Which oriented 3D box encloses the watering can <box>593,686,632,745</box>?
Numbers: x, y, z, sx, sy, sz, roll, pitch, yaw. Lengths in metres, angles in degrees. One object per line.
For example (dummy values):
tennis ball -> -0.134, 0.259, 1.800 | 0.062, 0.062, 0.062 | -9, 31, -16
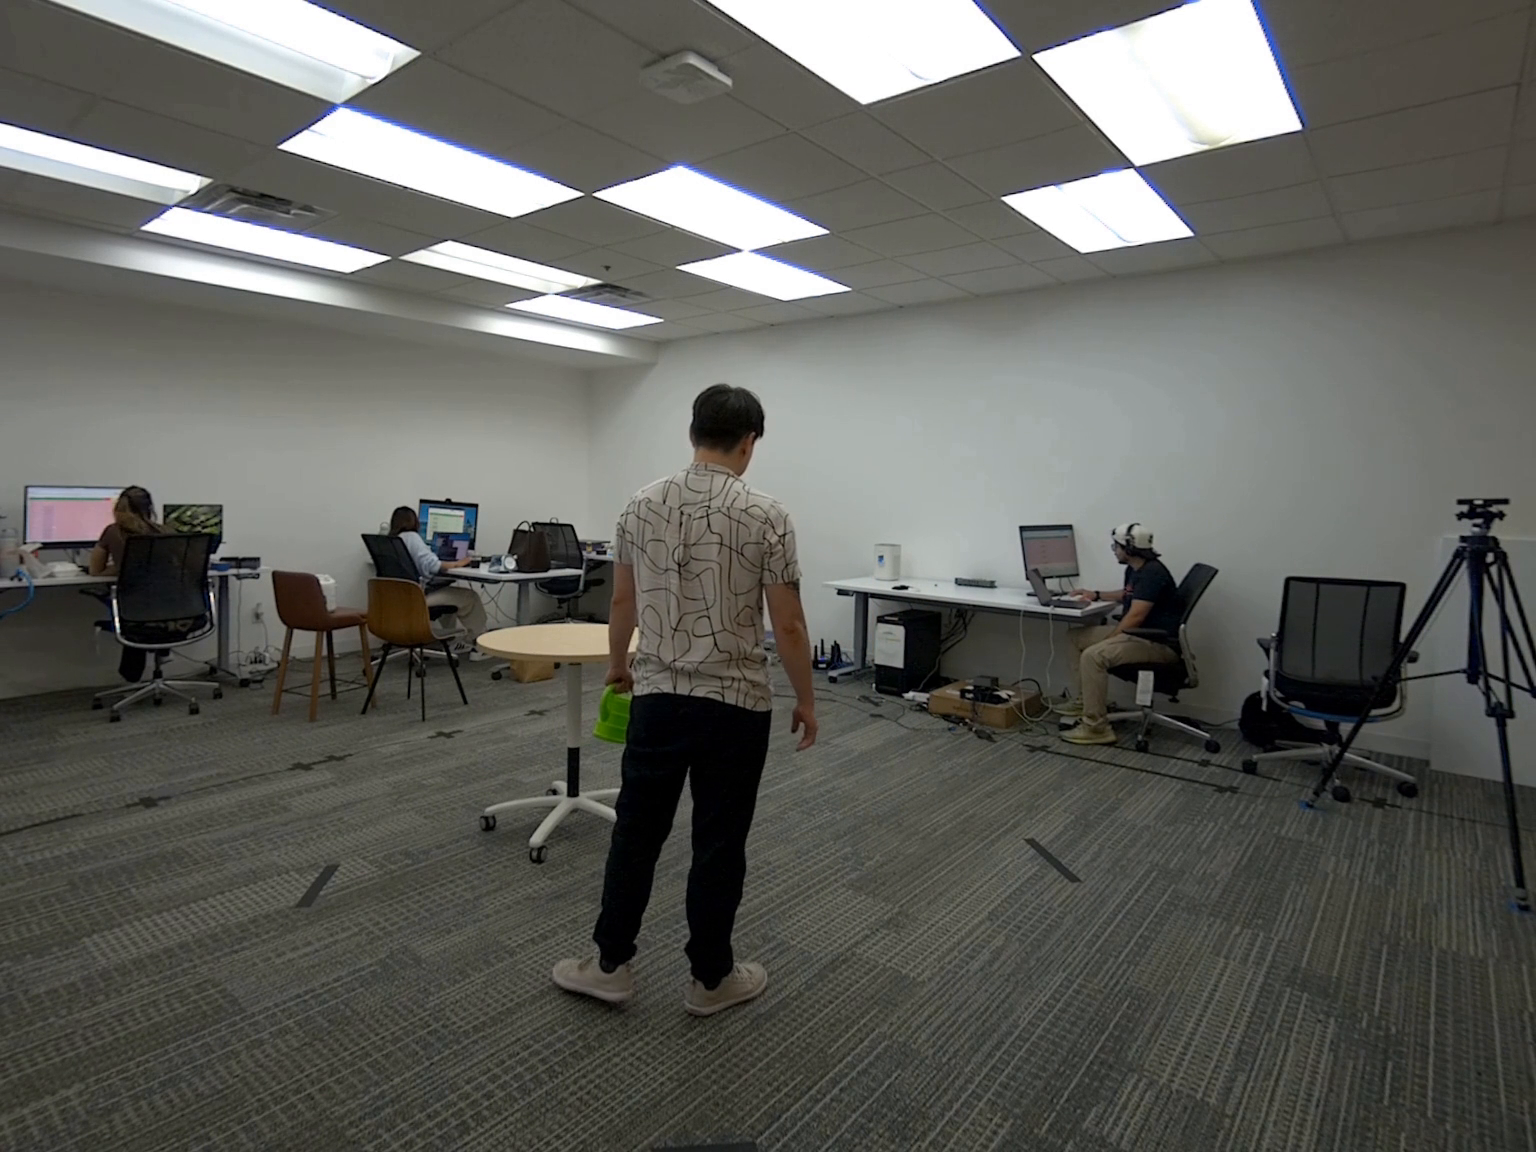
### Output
watering can -> -0.428, 0.413, 2.580 | 0.101, 0.178, 0.267 | 9, -10, 45
